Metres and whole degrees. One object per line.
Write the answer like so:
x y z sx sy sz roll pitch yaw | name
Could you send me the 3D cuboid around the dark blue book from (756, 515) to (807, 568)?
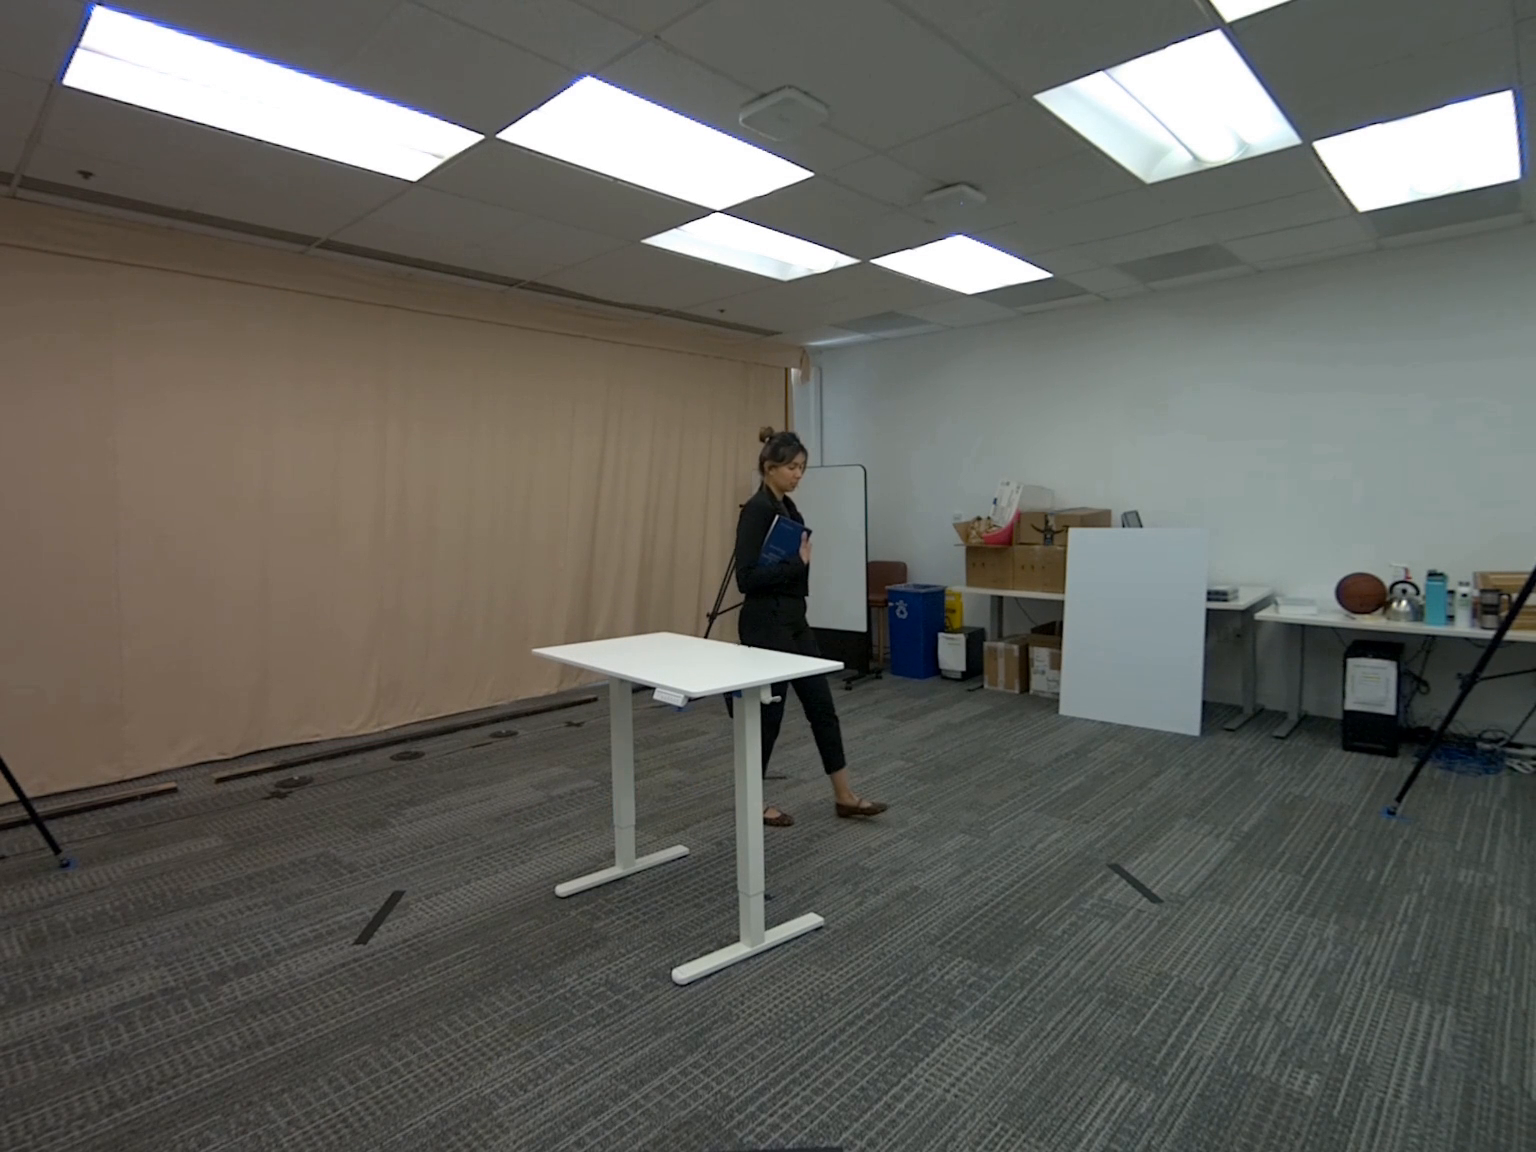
0.056 -0.109 3.478 0.162 0.245 0.045 24 5 -7 | dark blue book
